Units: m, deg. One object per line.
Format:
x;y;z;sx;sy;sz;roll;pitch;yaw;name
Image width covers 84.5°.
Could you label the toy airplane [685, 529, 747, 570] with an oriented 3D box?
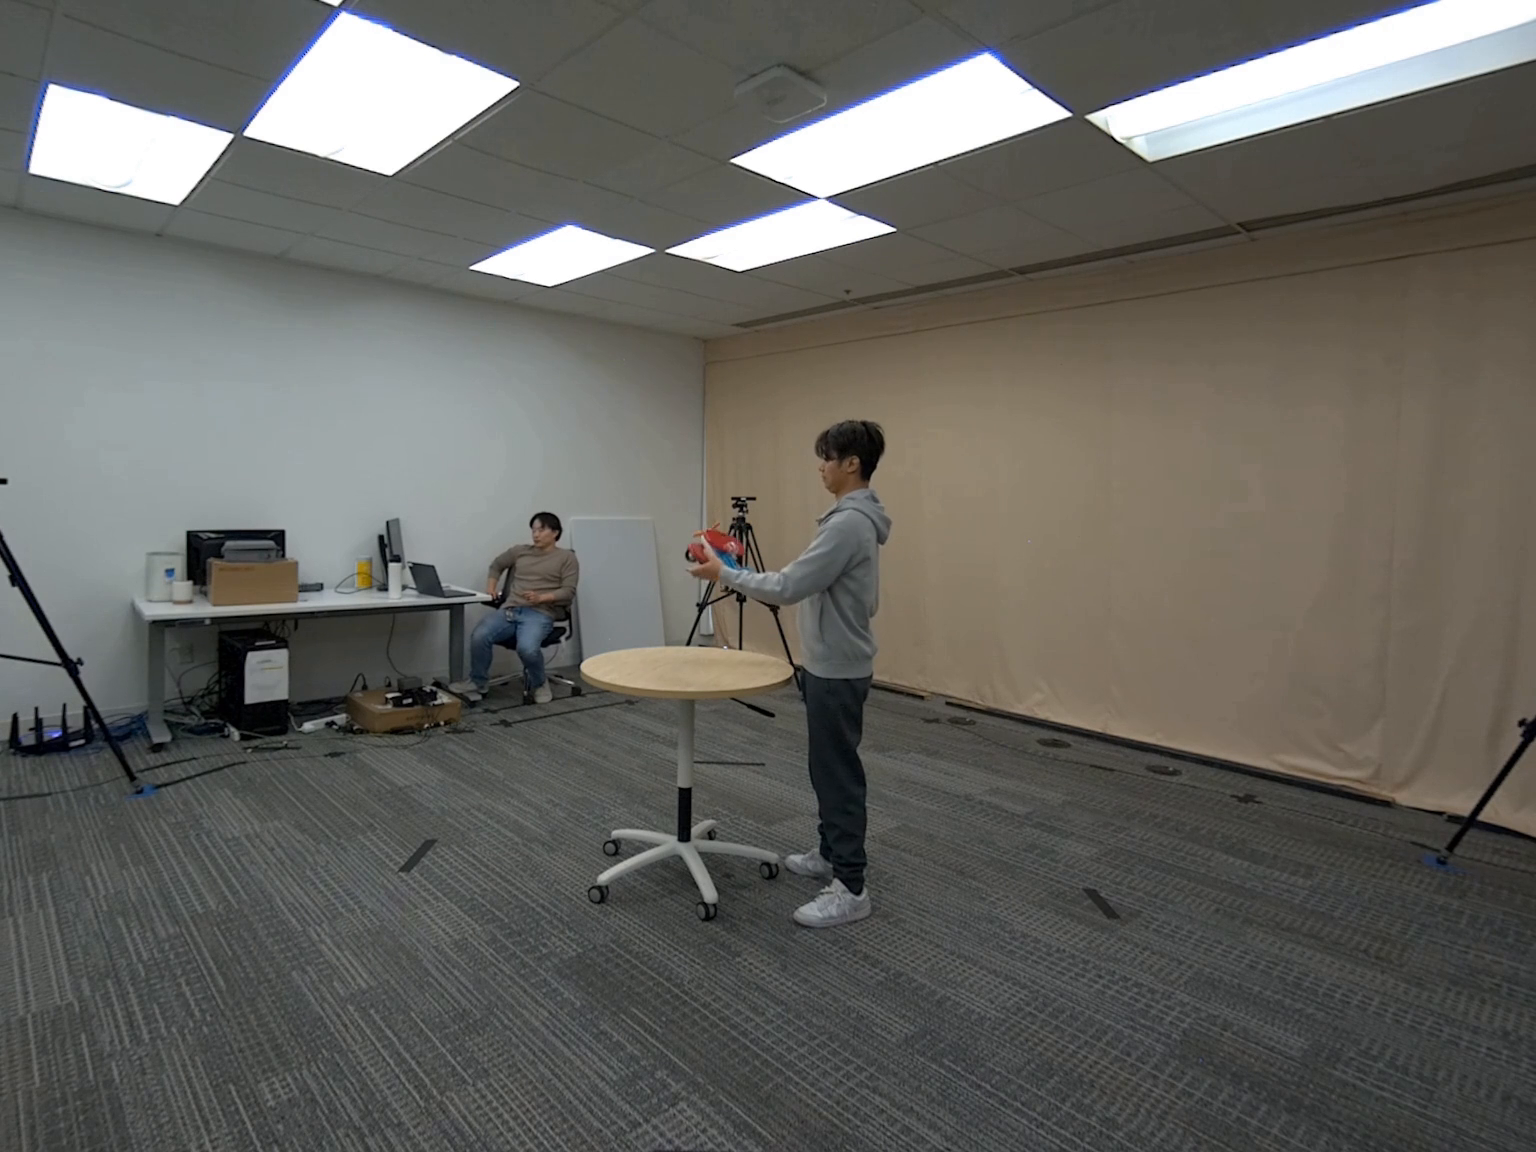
-0.170;-0.054;3.096;0.259;0.156;0.251;36;12;0;toy airplane
